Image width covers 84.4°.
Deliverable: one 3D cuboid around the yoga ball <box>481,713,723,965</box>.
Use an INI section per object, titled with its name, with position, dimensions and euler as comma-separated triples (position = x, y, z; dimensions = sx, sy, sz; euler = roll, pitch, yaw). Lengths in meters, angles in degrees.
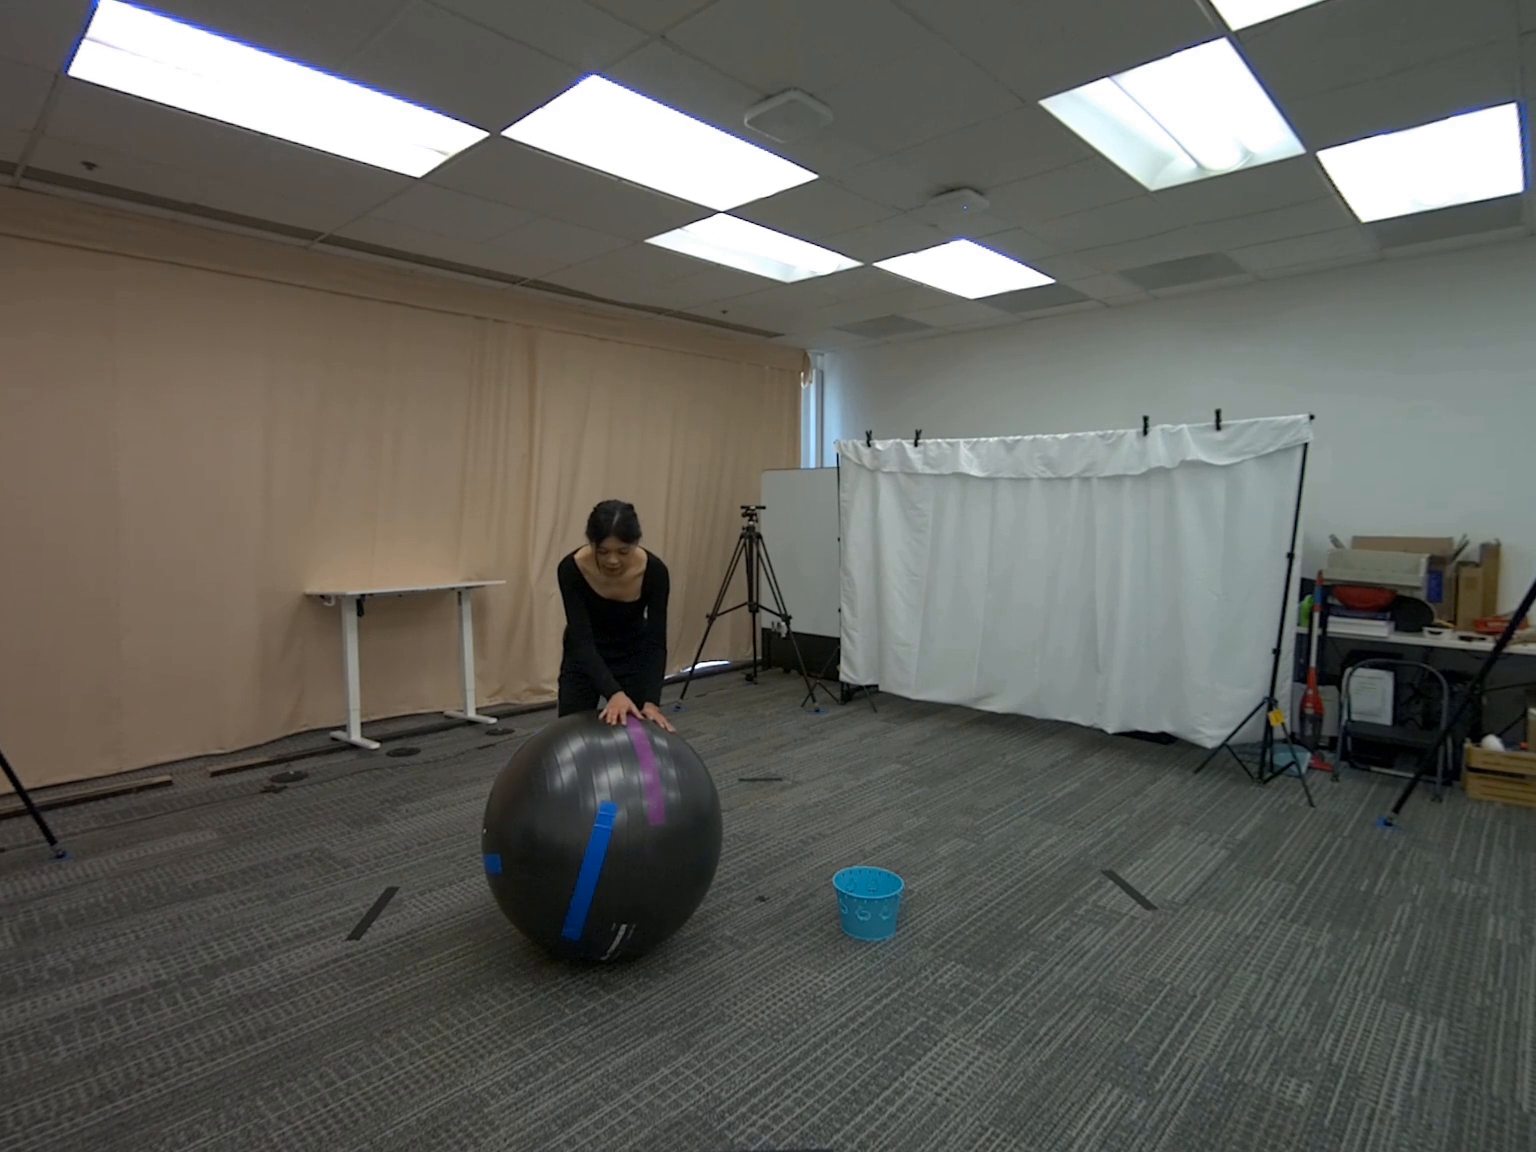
[yoga ball]
position = -0.519, 0.816, 2.675
dimensions = 0.757, 0.756, 0.760
euler = 0, 4, -2
